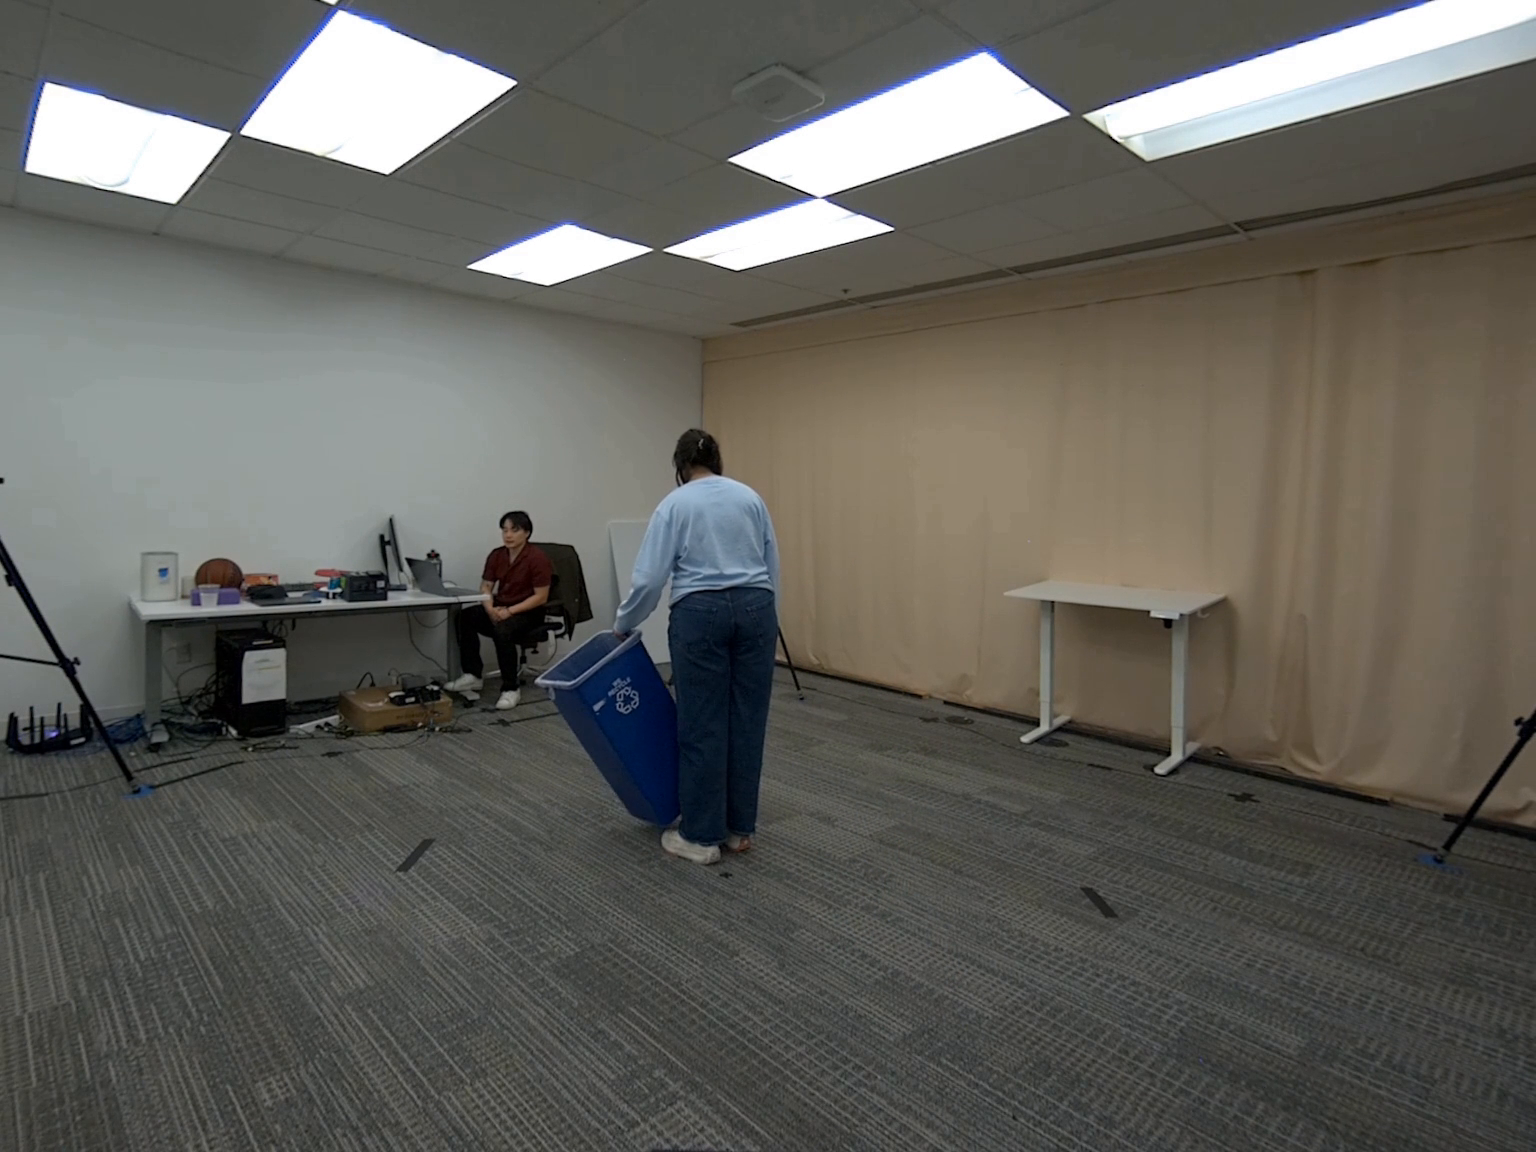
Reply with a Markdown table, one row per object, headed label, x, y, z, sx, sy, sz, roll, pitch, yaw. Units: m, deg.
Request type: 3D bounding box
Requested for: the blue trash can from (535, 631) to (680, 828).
| label | x | y | z | sx | sy | sz | roll | pitch | yaw |
| --- | --- | --- | --- | --- | --- | --- | --- | --- | --- |
| blue trash can | -0.560 | 0.608 | 3.430 | 0.372 | 0.703 | 0.386 | -38 | 18 | -33 |
